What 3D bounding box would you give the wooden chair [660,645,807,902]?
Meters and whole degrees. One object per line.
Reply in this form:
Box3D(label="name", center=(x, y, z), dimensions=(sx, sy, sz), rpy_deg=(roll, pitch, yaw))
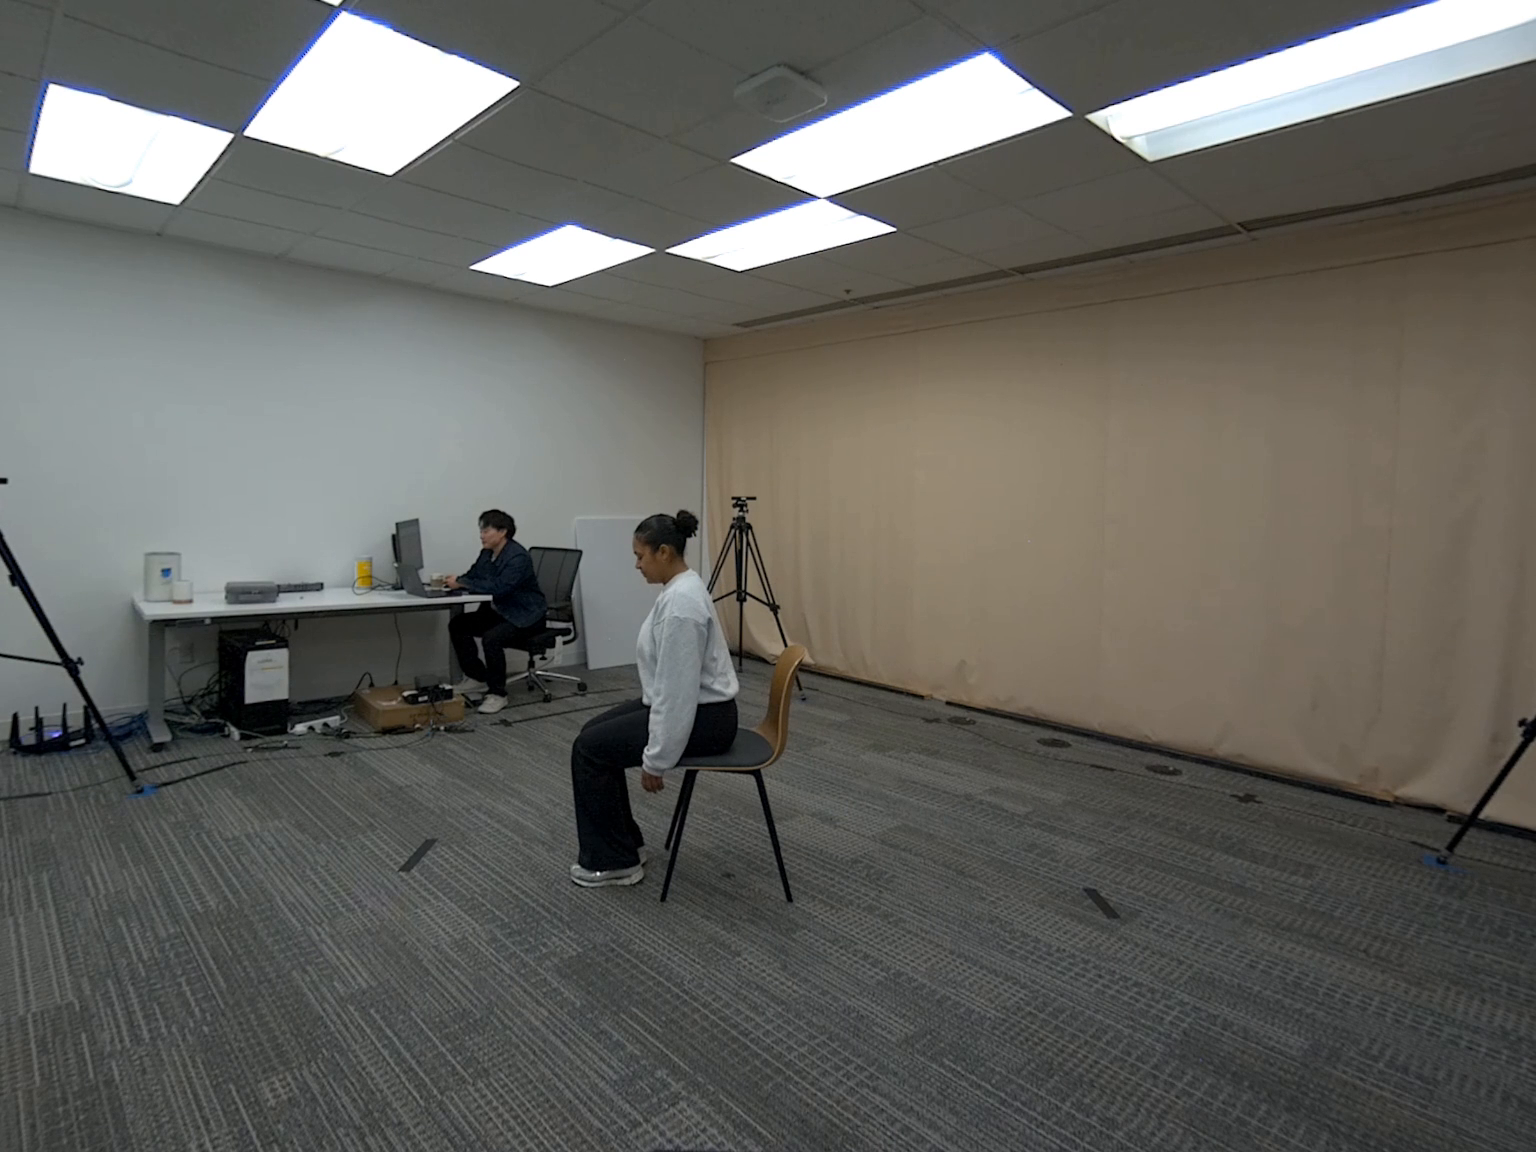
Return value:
Box3D(label="wooden chair", center=(-0.165, 0.680, 3.087), dimensions=(0.521, 0.875, 0.481), rpy_deg=(5, 3, -4))
